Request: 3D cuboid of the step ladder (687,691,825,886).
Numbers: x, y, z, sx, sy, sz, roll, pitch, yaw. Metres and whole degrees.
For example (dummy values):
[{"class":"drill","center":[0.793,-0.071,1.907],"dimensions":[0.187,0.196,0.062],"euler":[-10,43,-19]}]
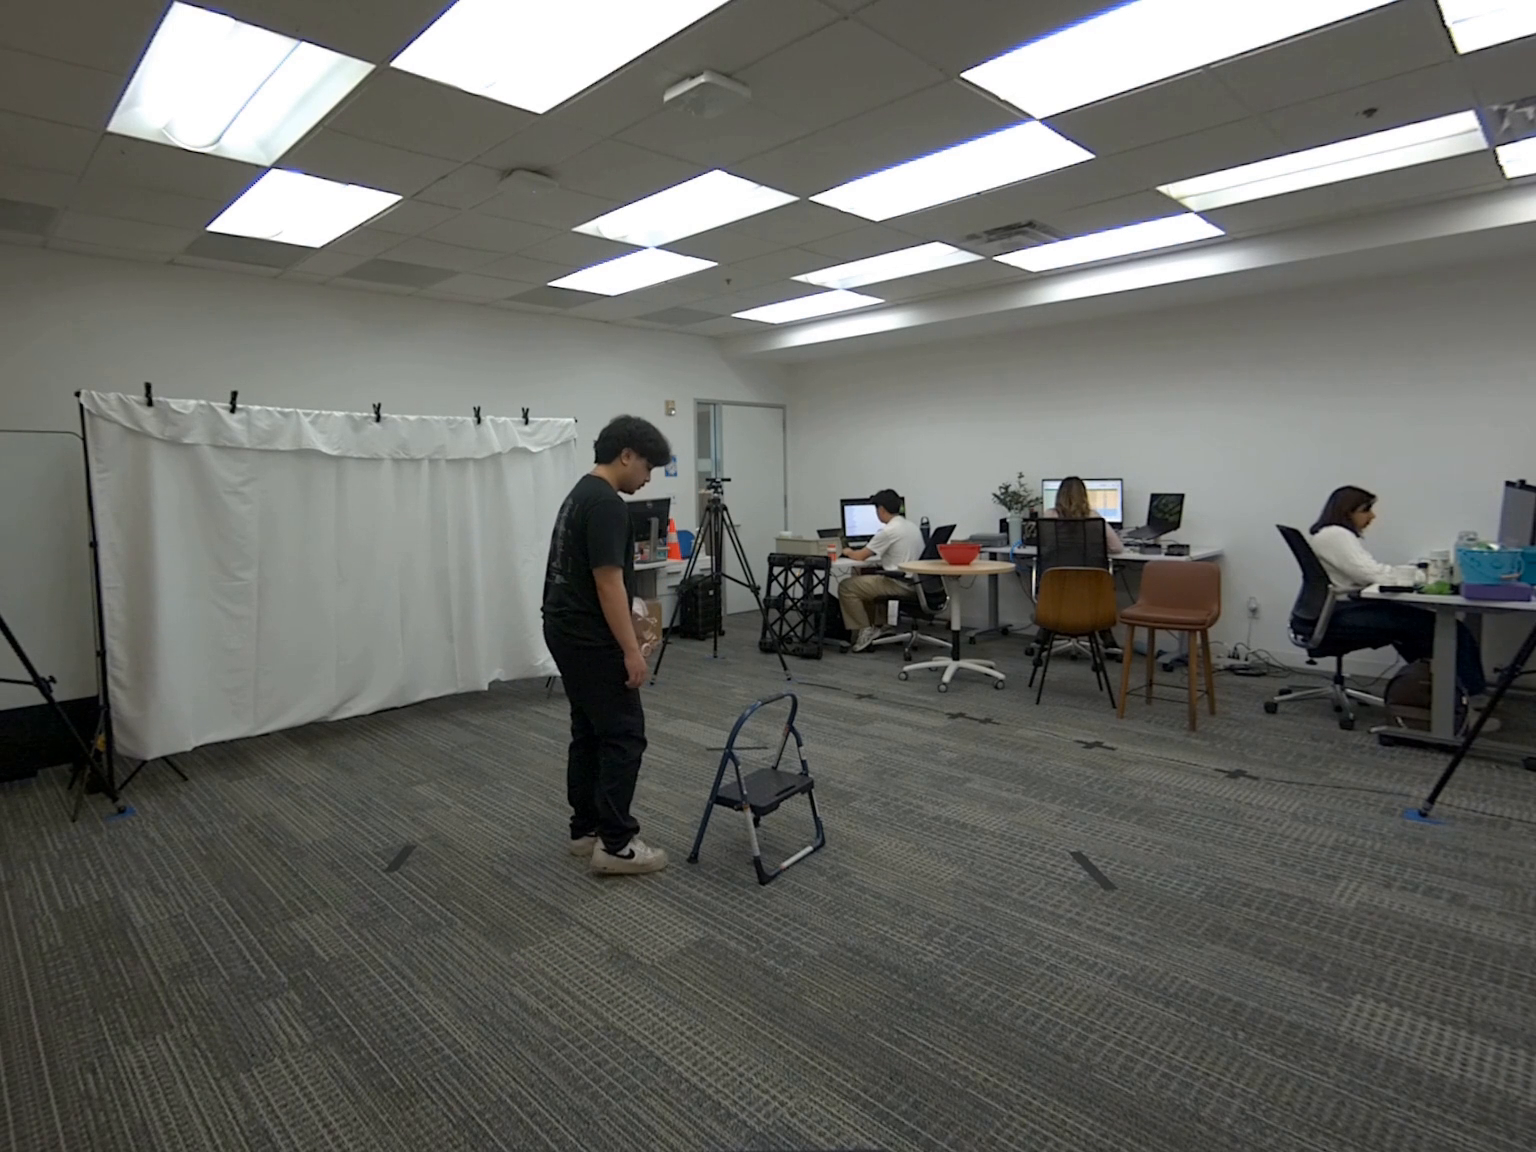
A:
[{"class":"step ladder","center":[-0.040,0.726,3.172],"dimensions":[0.359,0.604,0.420],"euler":[2,5,36]}]
